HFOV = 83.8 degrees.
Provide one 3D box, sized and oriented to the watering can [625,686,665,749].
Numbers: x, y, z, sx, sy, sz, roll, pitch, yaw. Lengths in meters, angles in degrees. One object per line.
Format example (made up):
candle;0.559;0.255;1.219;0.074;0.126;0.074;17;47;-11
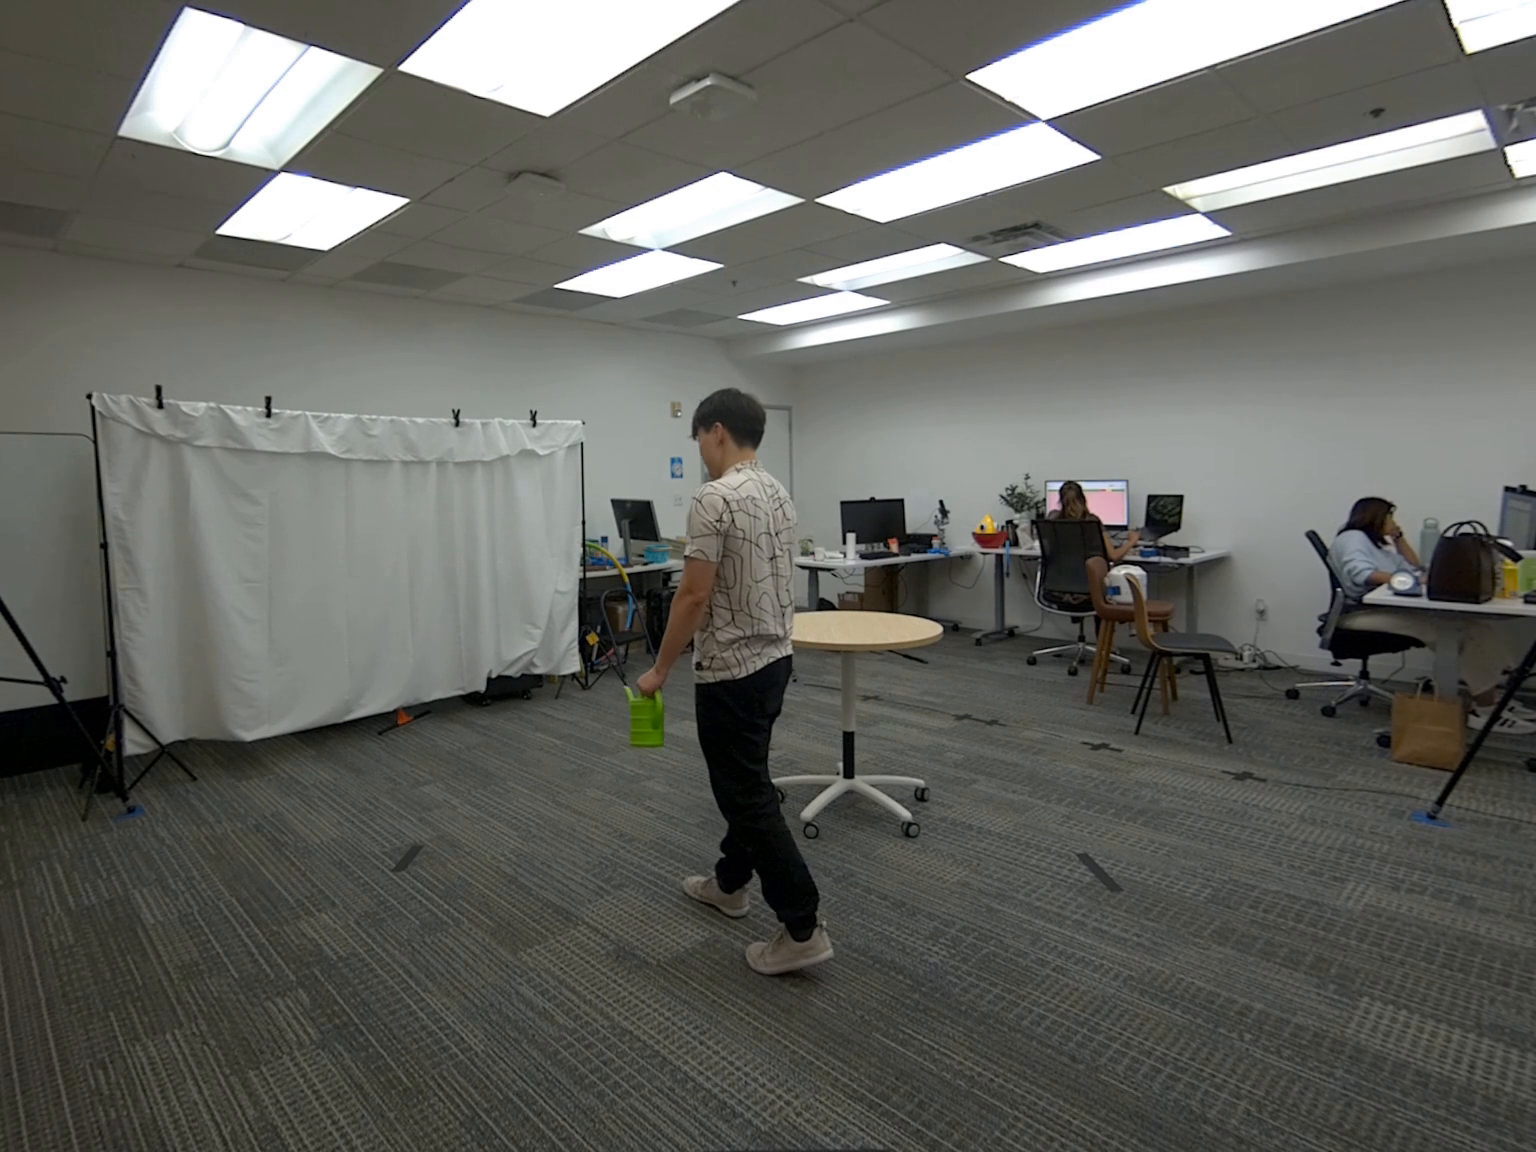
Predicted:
watering can;-0.351;0.421;2.517;0.096;0.178;0.280;2;-9;-18
